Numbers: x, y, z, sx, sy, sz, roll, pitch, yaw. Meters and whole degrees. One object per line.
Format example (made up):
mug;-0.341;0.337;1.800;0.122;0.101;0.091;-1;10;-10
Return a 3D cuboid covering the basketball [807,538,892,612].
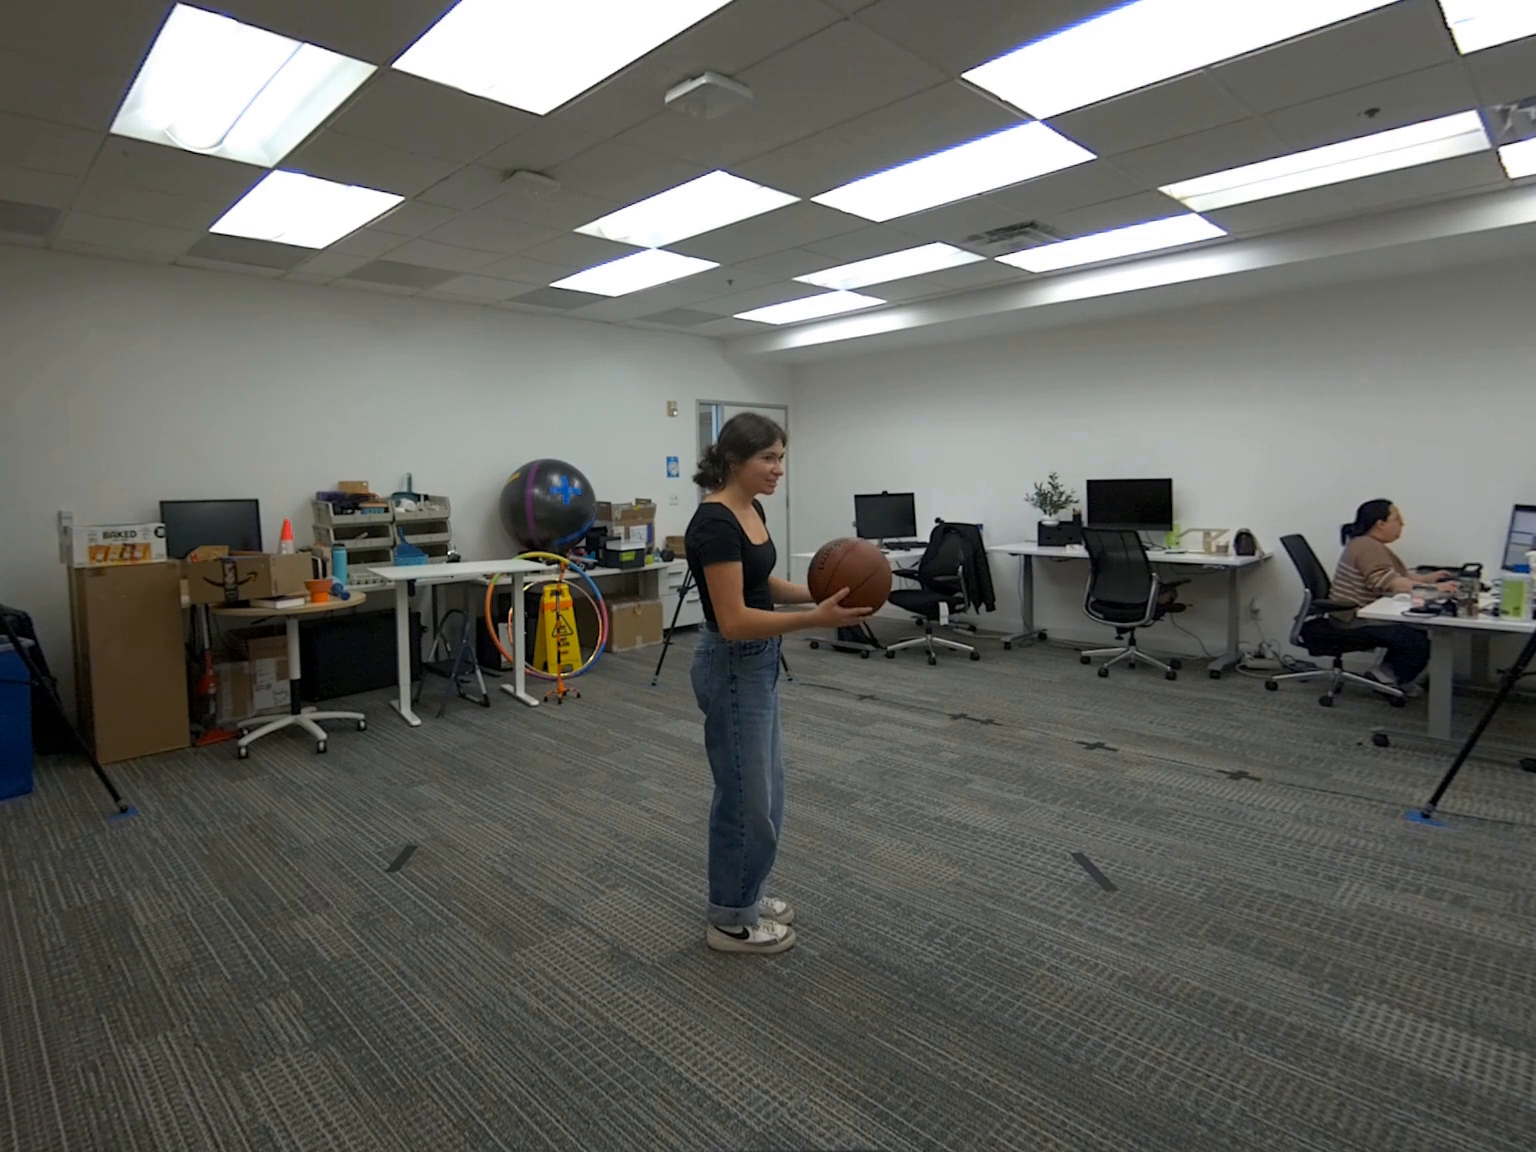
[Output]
basketball;0.222;0.018;2.424;0.236;0.235;0.237;-1;5;-2
